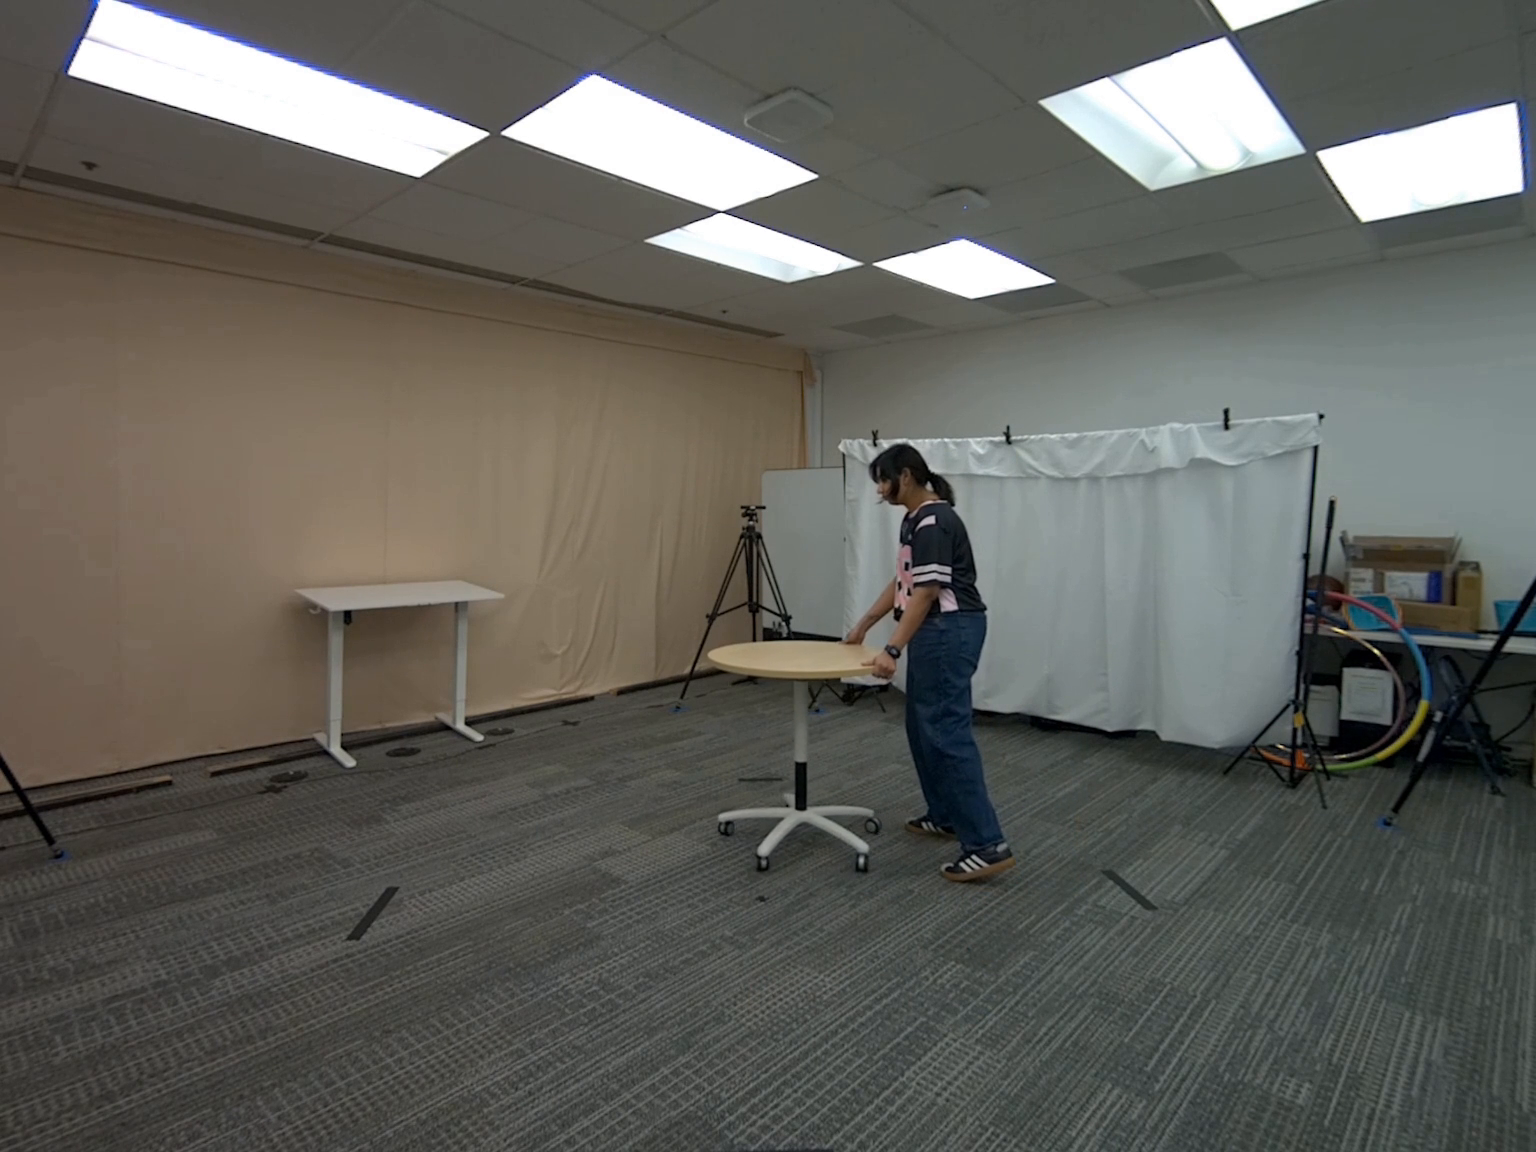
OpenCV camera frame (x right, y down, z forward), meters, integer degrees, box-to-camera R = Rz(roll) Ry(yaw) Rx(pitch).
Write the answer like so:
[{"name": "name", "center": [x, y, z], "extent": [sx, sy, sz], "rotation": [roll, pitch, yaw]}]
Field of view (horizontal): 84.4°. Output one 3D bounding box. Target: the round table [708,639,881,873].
[{"name": "round table", "center": [0.144, 0.716, 3.451], "extent": [0.784, 0.785, 0.787], "rotation": [0, 3, -2]}]
